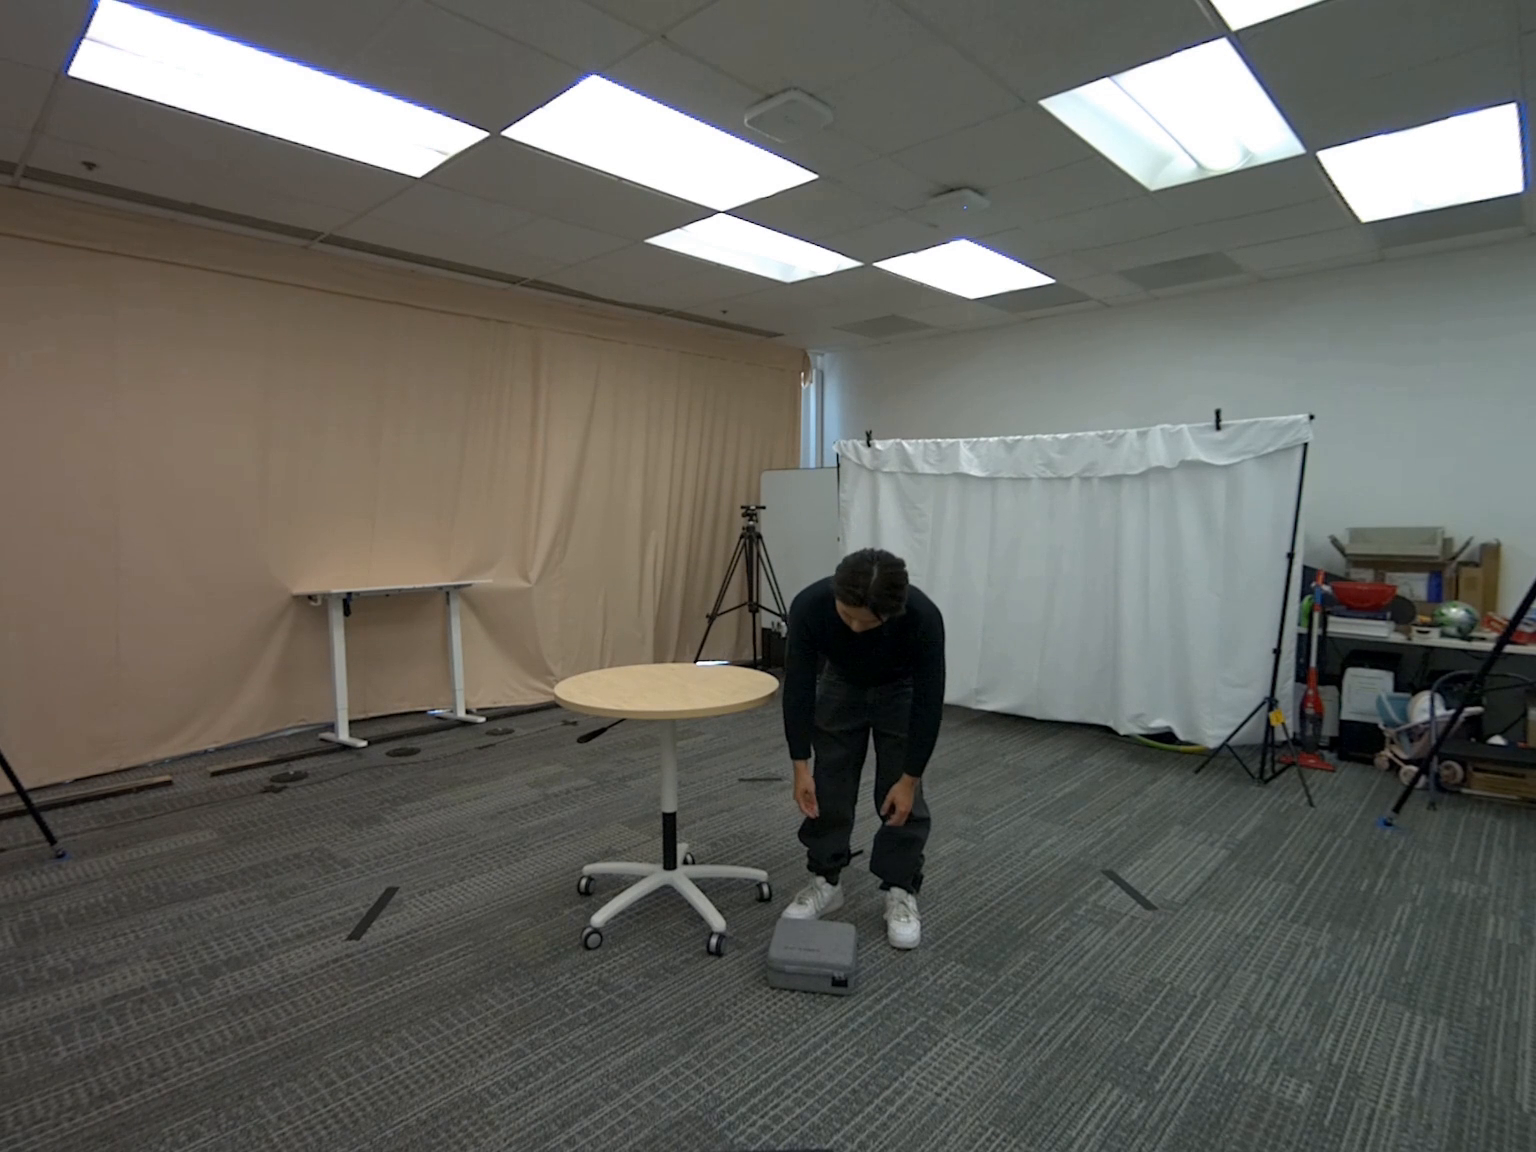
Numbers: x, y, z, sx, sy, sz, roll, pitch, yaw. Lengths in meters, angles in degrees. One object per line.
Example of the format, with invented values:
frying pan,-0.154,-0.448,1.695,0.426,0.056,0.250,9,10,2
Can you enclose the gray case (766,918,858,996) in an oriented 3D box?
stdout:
gray case,0.133,1.122,2.525,0.260,0.104,0.258,2,4,10
